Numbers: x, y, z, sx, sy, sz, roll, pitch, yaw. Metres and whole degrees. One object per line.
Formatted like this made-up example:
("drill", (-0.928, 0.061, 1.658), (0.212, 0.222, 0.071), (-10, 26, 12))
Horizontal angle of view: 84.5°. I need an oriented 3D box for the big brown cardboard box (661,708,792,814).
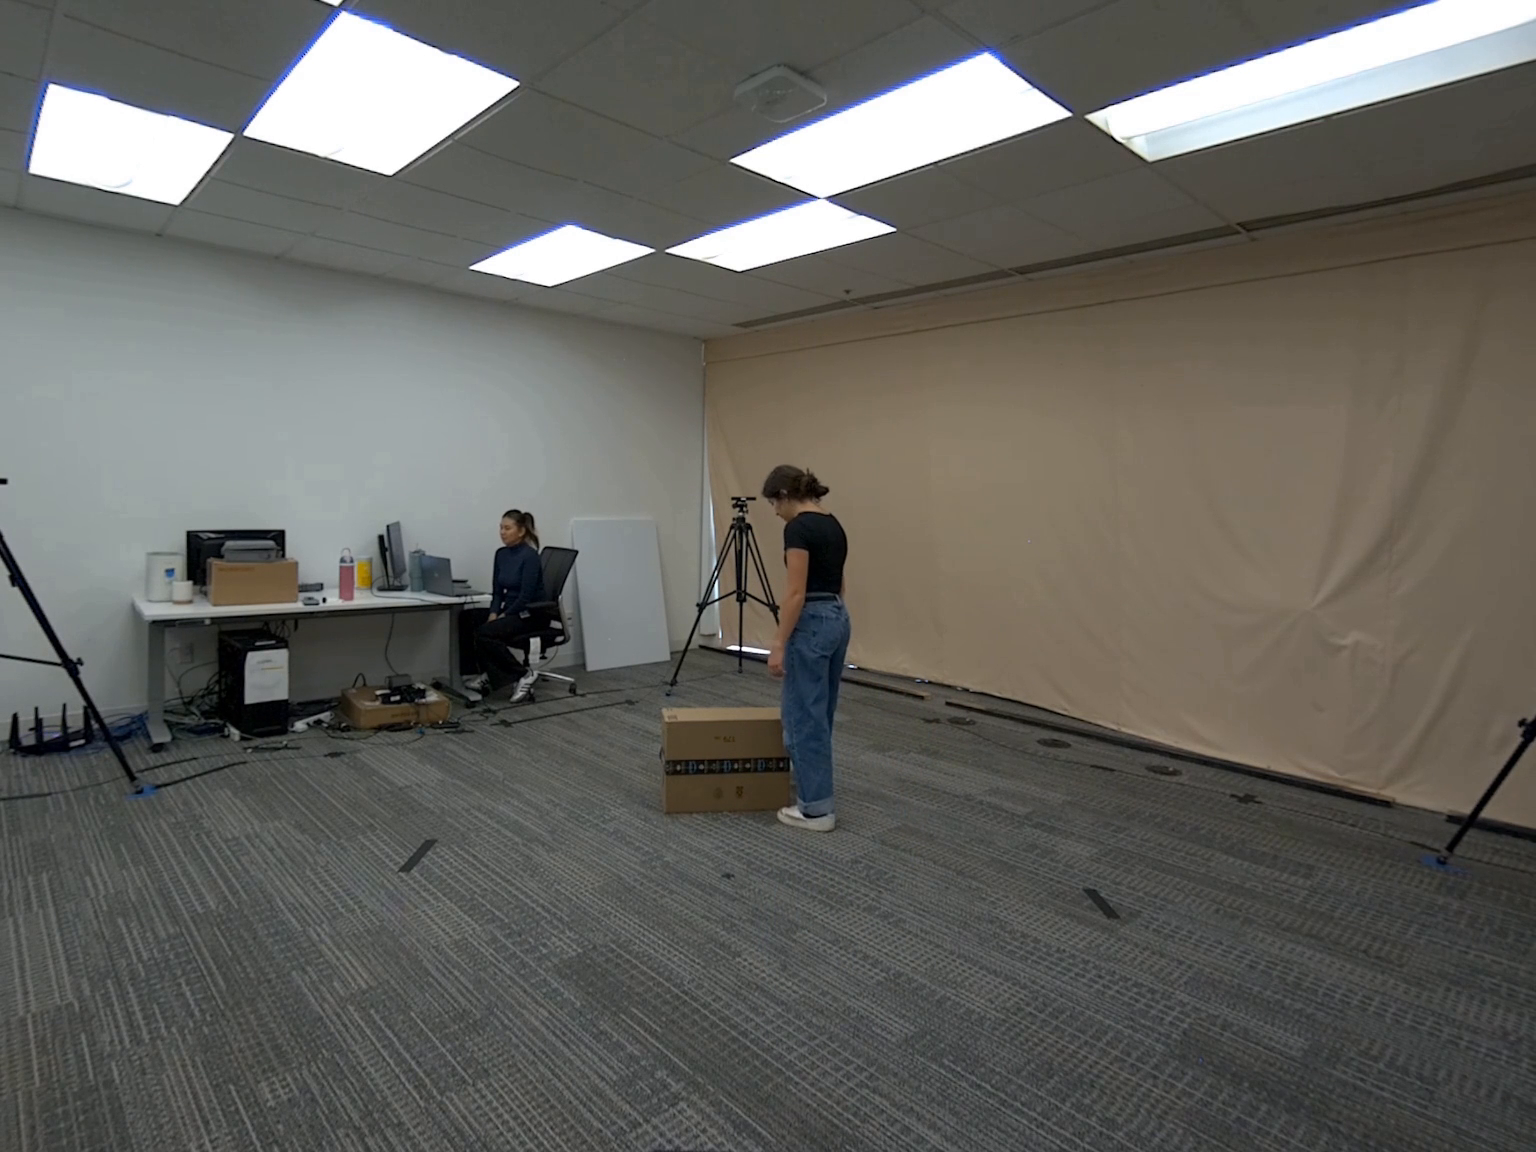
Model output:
("big brown cardboard box", (-0.211, 0.831, 3.840), (0.584, 0.416, 0.235), (2, 4, -9))
